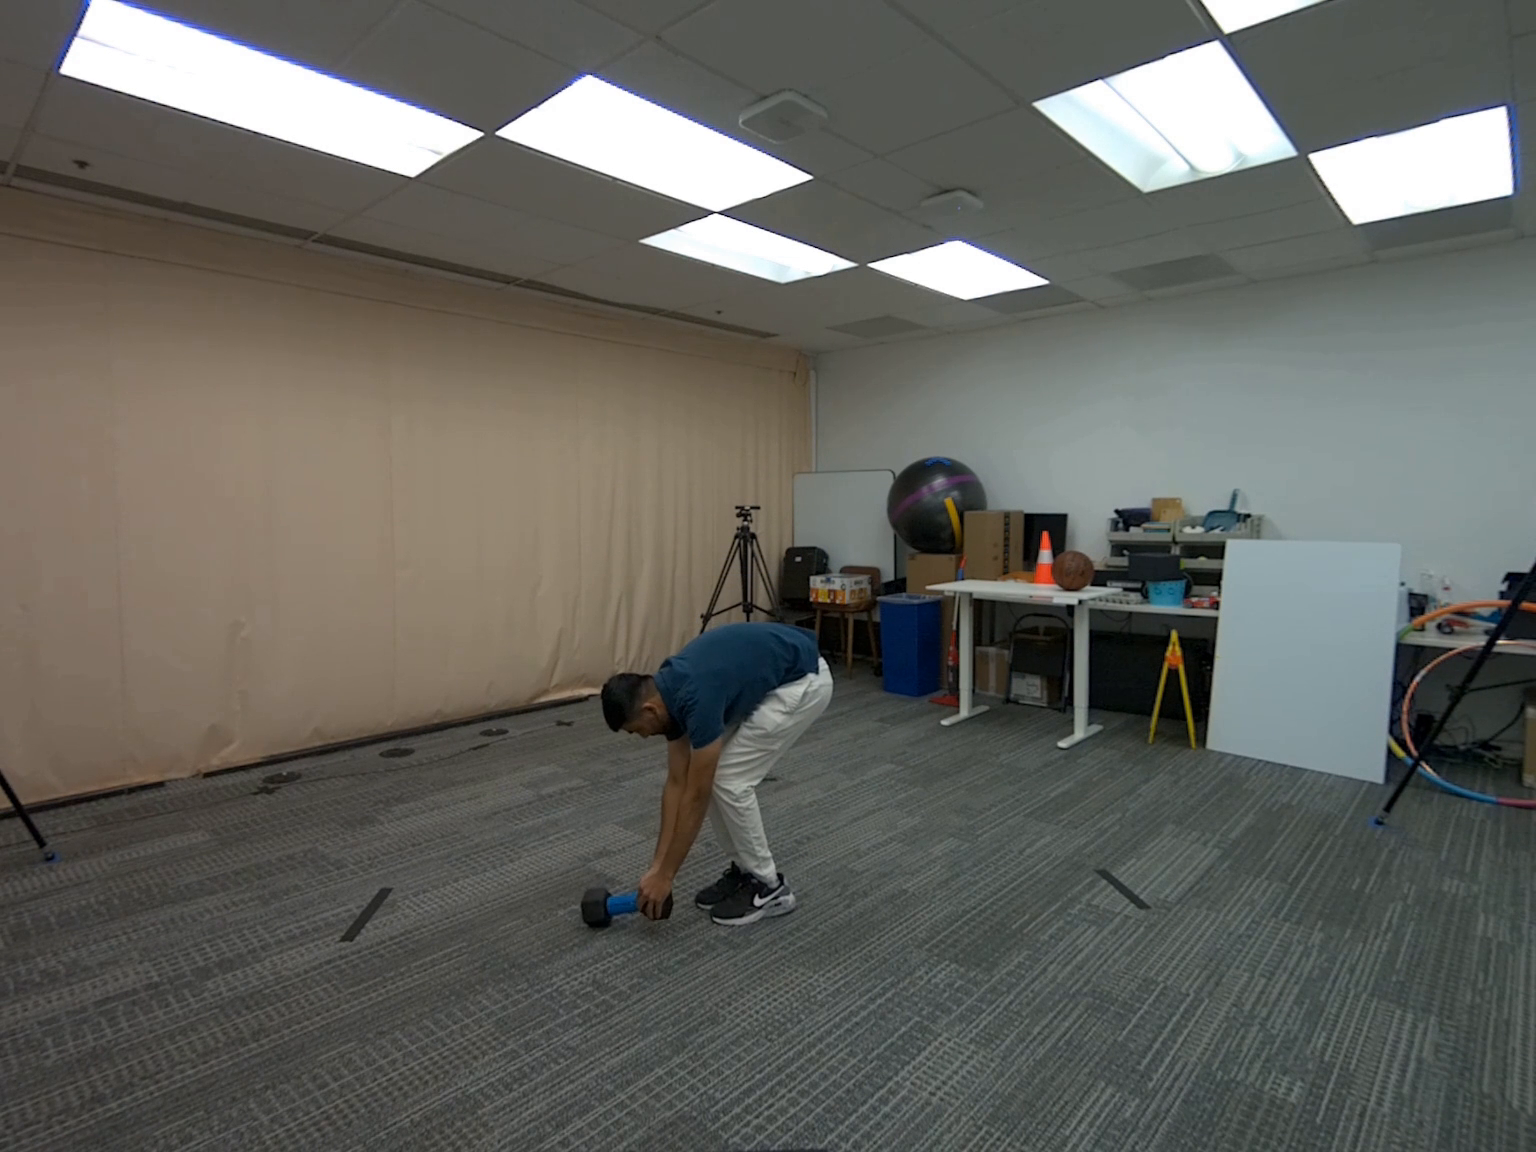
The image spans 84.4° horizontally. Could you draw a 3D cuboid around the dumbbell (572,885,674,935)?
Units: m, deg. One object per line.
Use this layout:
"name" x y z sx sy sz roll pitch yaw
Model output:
"dumbbell" -0.473 1.088 2.763 0.297 0.110 0.119 -8 -40 13
